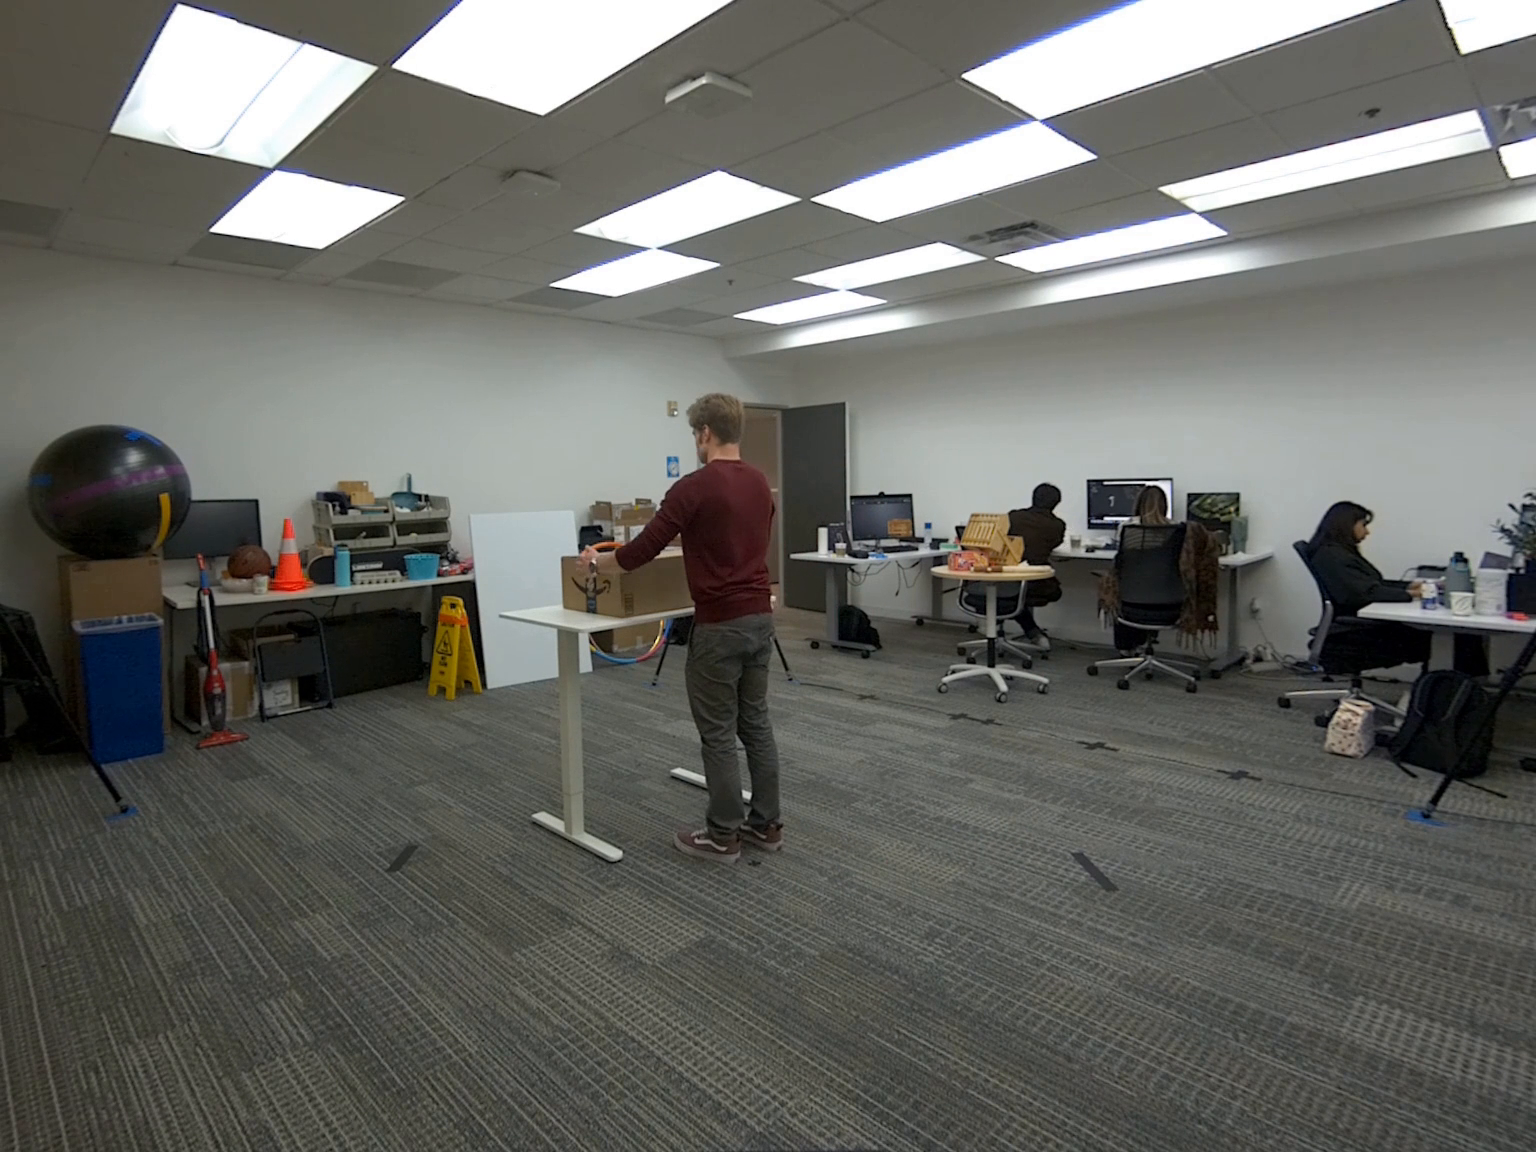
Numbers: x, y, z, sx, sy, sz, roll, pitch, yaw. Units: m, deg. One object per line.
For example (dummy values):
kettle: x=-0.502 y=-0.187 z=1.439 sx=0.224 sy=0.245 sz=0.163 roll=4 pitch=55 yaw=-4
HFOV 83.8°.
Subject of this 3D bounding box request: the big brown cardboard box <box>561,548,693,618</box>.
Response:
big brown cardboard box: x=-0.511 y=0.011 z=3.549 sx=0.574 sy=0.232 sz=0.430 roll=-7 pitch=8 yaw=-44
